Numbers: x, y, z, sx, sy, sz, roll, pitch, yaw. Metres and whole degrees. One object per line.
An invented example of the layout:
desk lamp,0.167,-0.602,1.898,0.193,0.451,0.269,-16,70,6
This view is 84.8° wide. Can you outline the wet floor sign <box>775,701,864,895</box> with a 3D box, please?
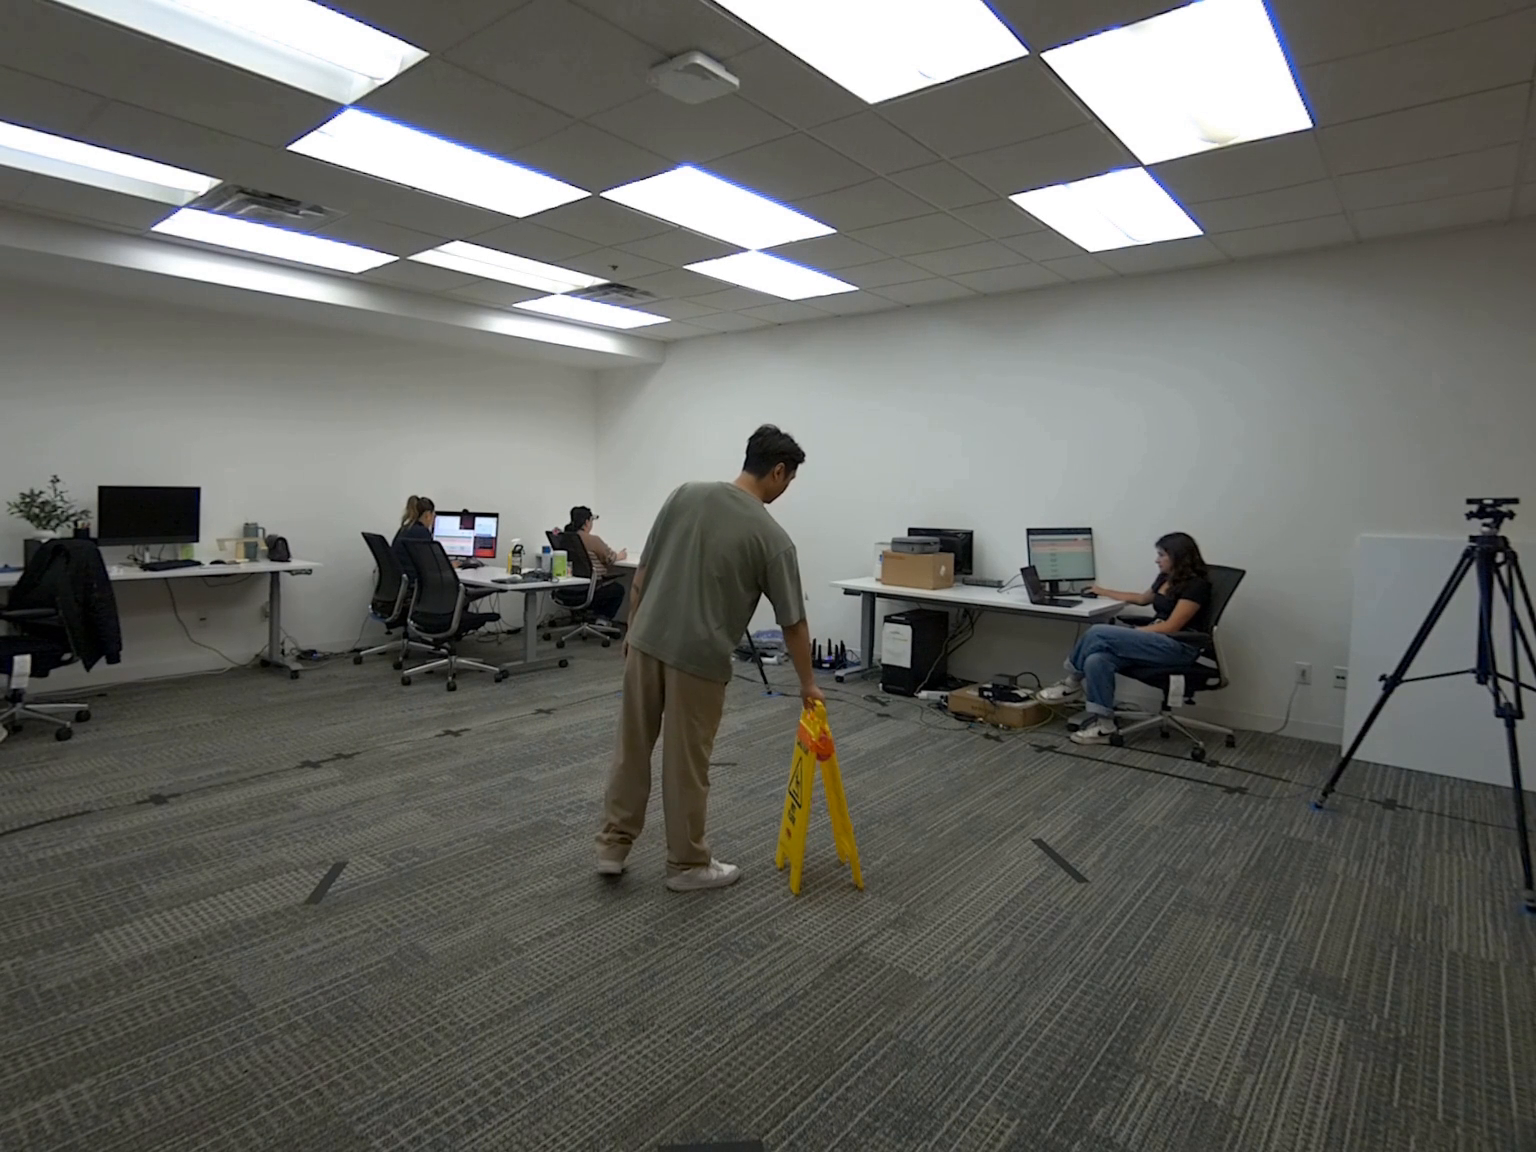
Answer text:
wet floor sign,0.161,0.756,3.041,0.287,0.644,0.286,-1,4,-10
